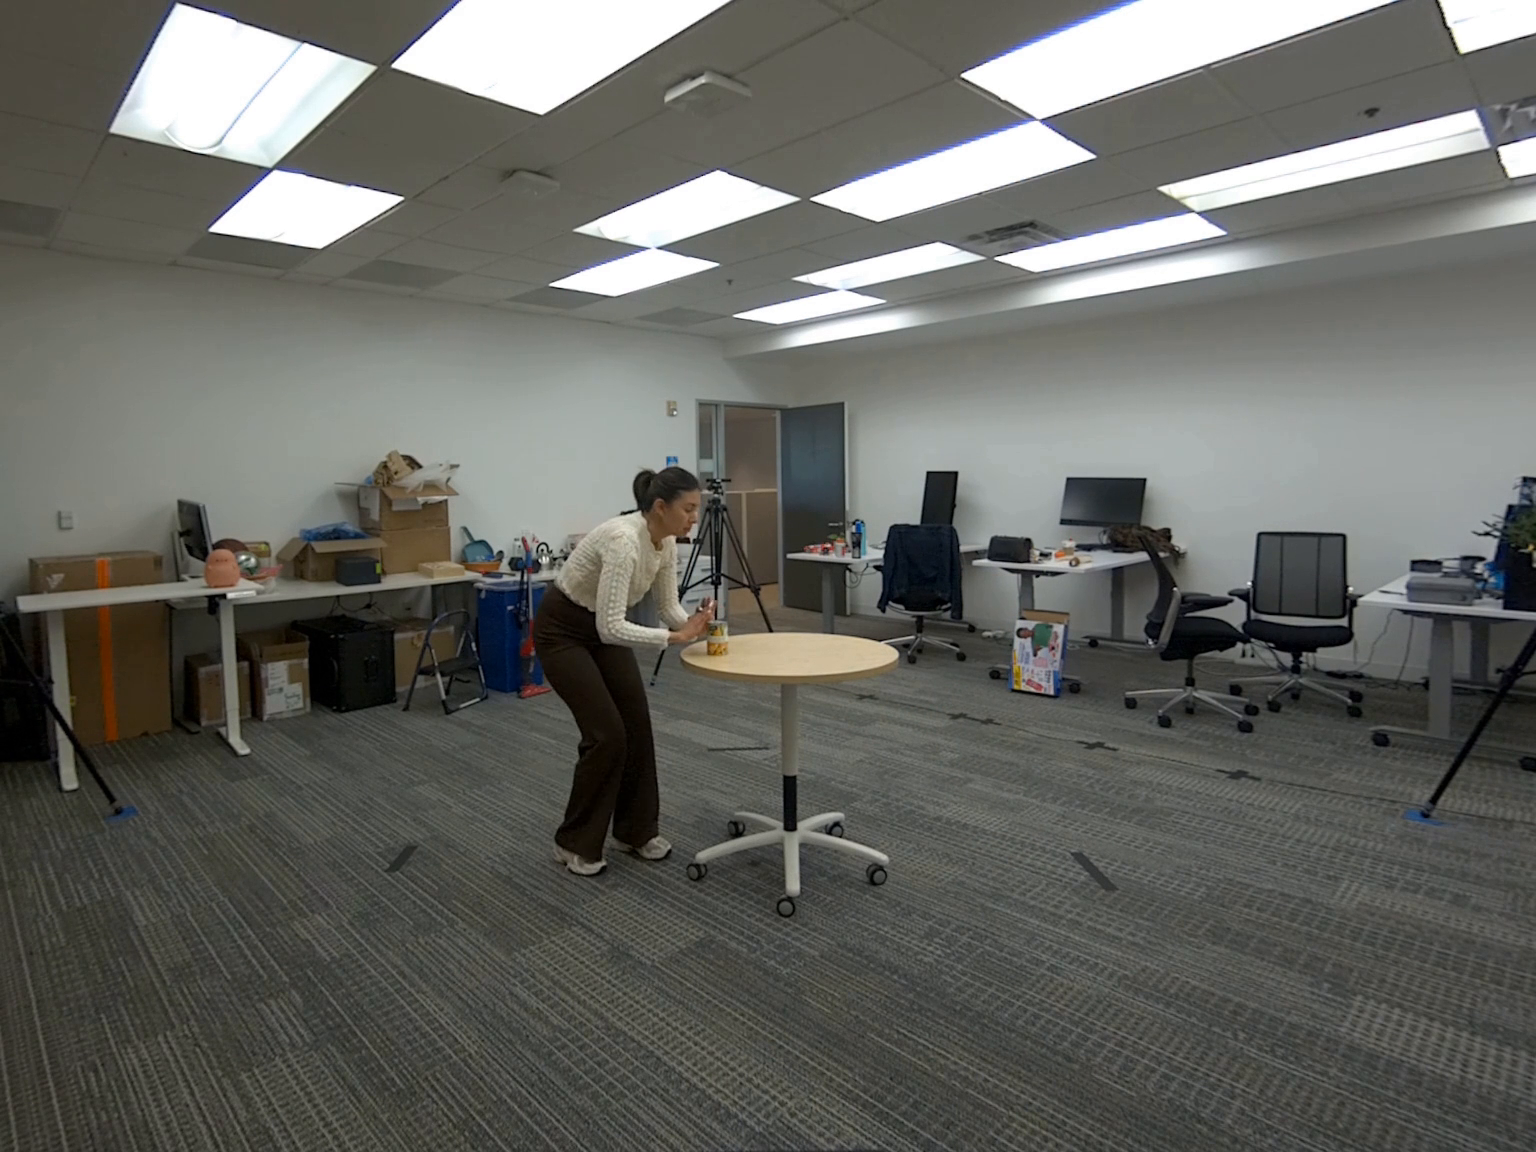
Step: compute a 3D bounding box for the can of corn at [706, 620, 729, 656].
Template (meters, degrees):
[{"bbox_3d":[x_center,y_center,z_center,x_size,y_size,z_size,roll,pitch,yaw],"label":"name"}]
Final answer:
[{"bbox_3d":[-0.170,0.220,2.997,0.074,0.110,0.074,-2,5,-1],"label":"can of corn"}]
